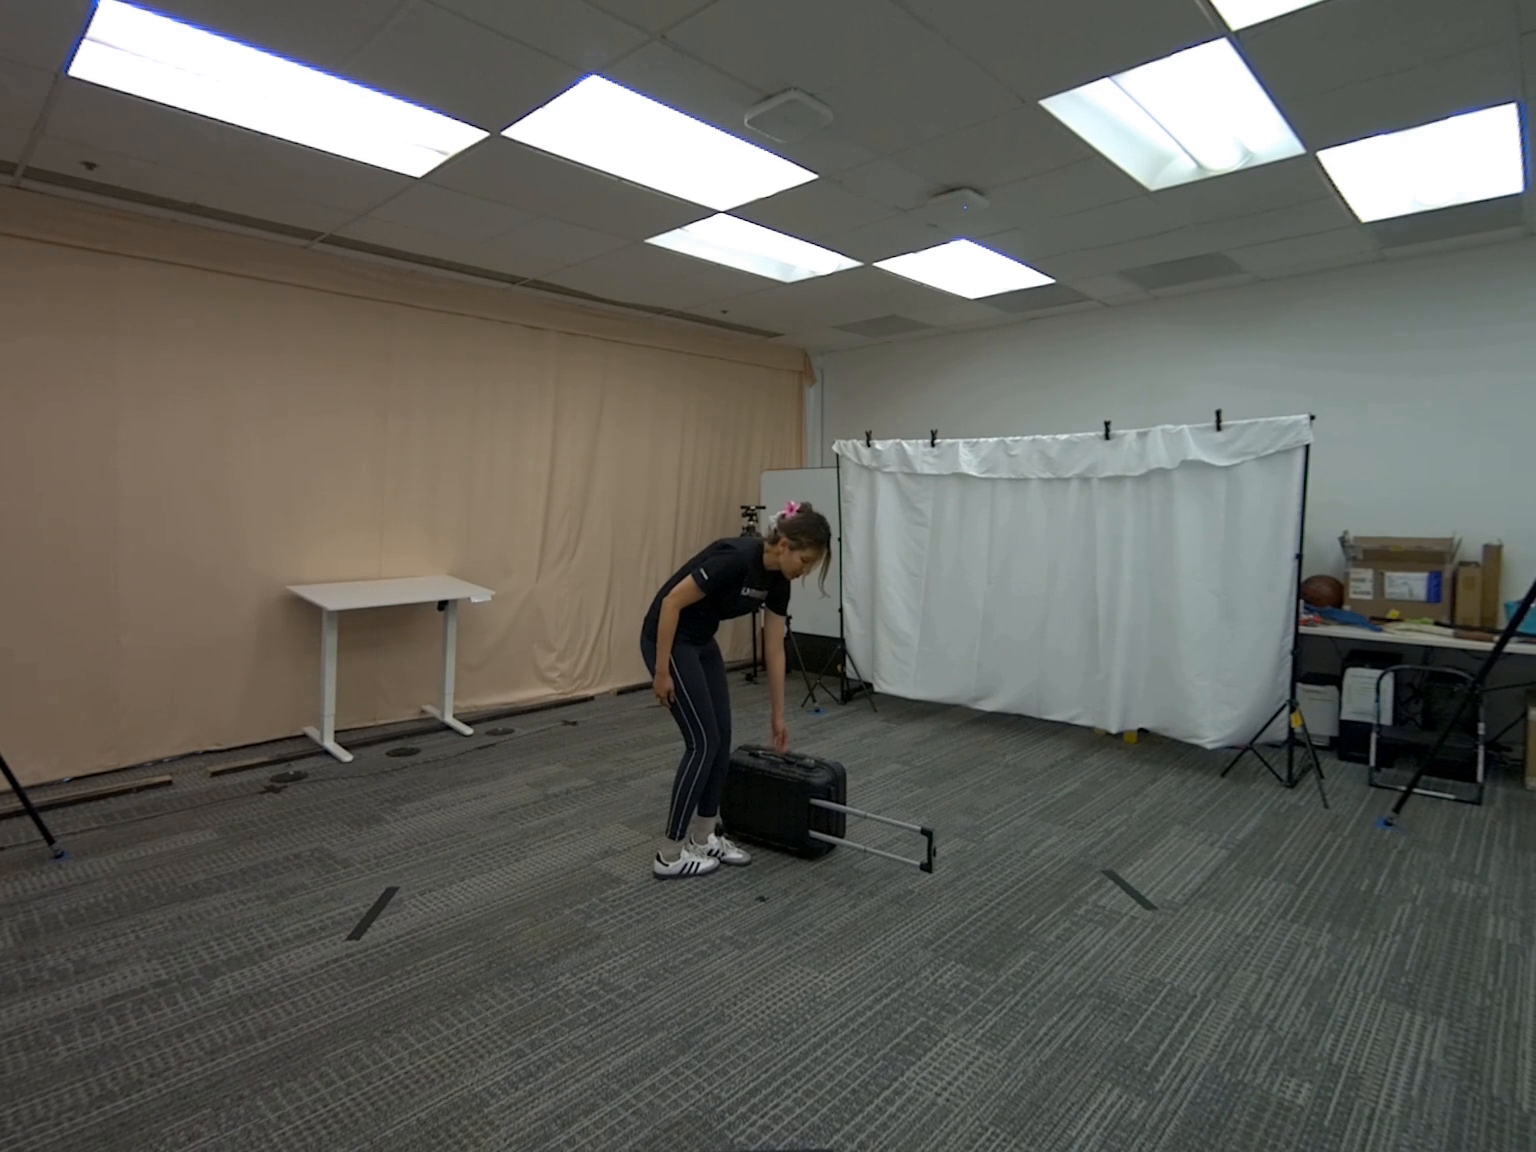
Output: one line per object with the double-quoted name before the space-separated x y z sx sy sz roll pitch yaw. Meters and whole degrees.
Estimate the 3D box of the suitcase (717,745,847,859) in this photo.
"suitcase" 0.227 0.923 3.346 1.009 0.383 0.249 3 4 34
